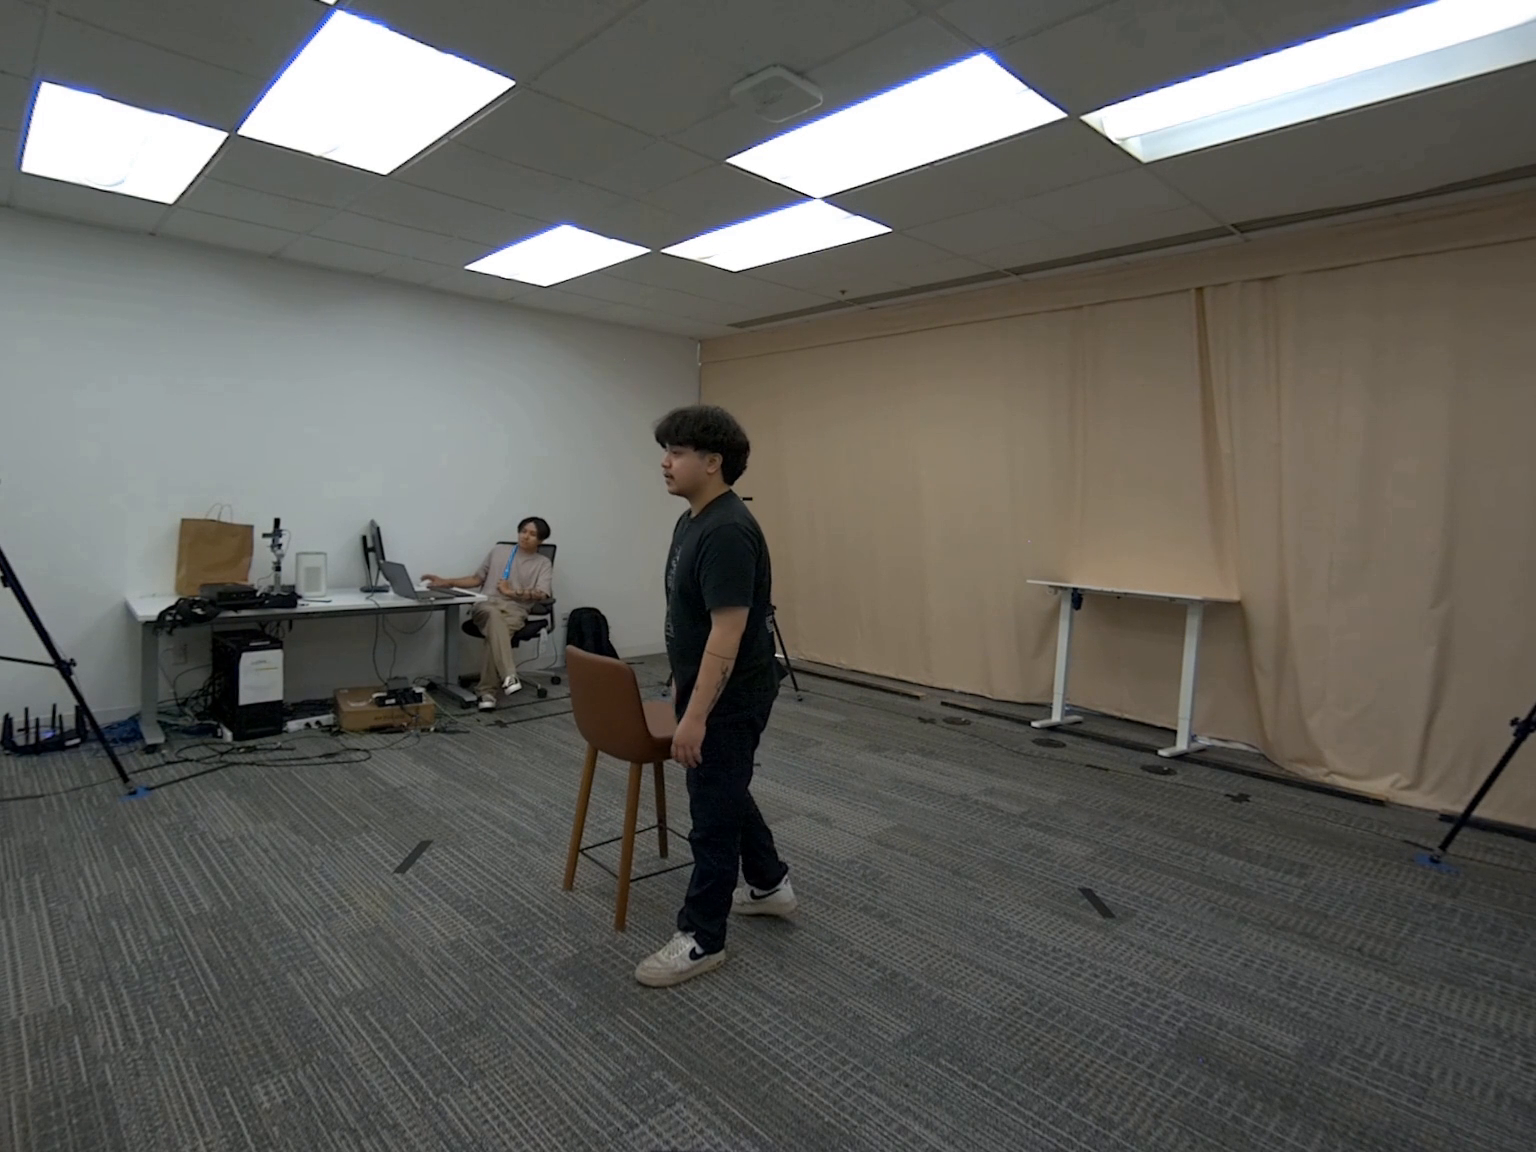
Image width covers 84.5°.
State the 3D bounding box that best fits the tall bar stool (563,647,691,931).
[{"bbox_3d":[-0.441,0.680,2.947,0.457,0.887,0.468,-4,6,-40],"label":"tall bar stool"}]
